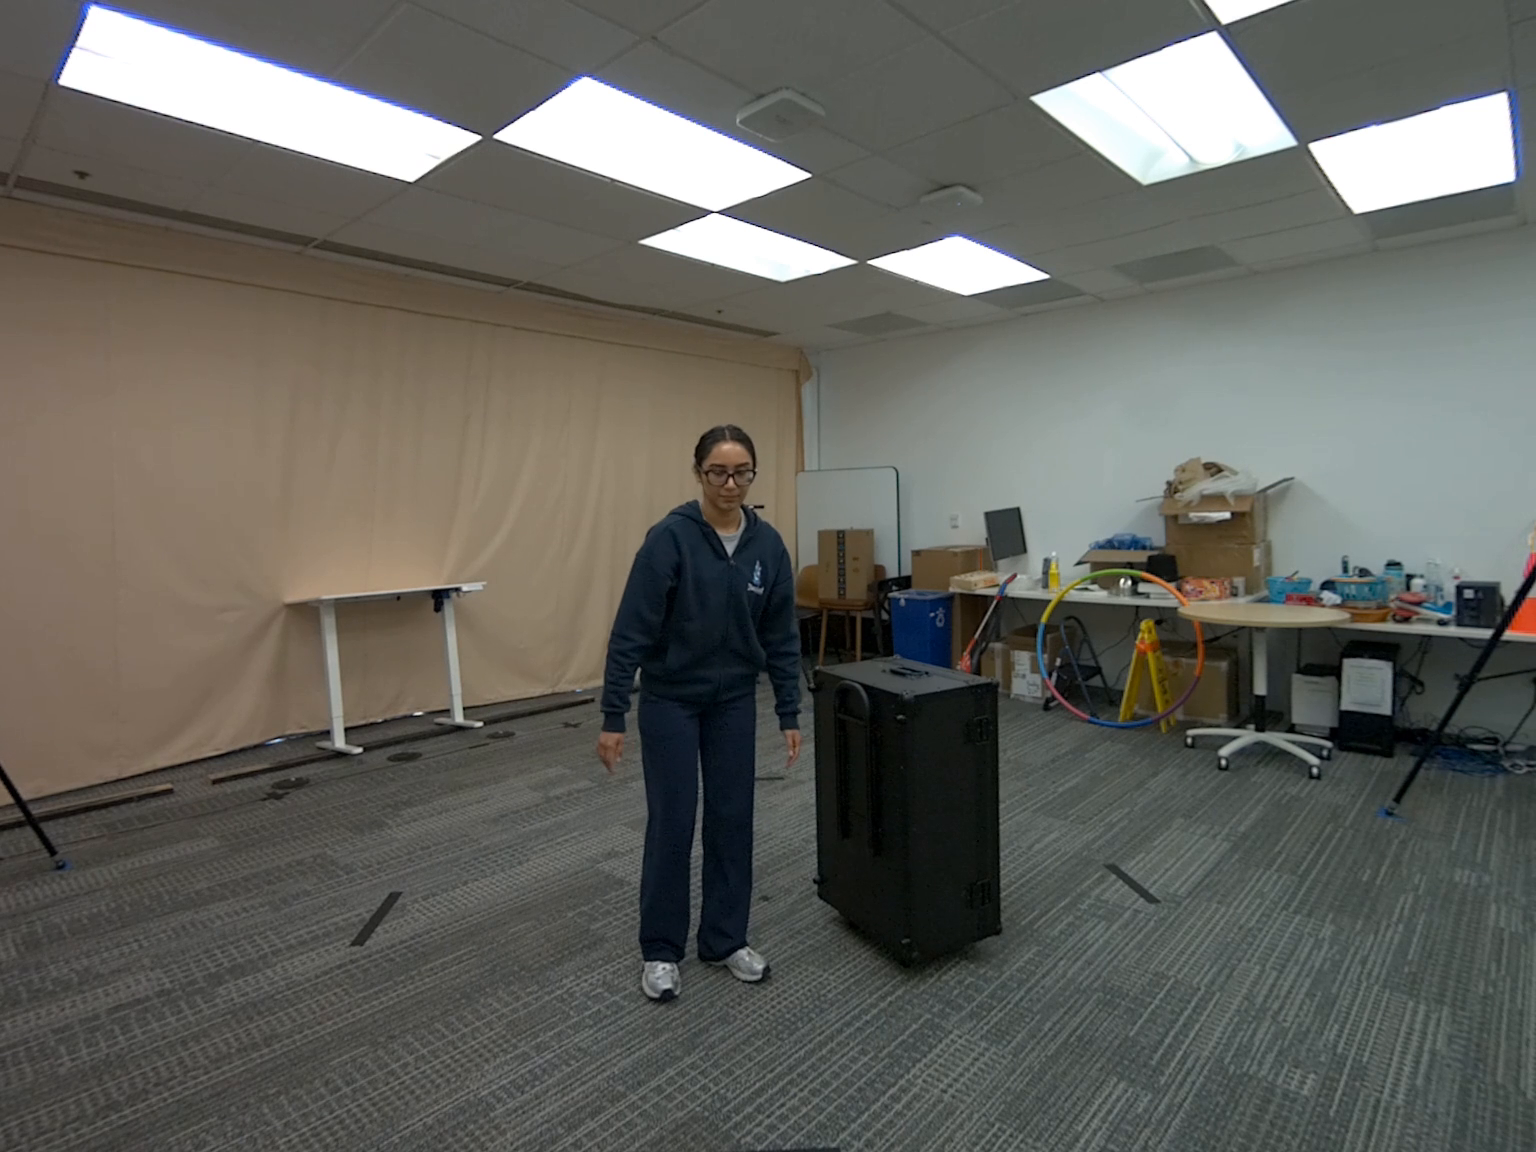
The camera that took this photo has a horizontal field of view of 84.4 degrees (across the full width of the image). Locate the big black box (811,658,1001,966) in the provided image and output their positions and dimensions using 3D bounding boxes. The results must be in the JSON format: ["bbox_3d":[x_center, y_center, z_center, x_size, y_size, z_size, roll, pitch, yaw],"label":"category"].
[{"bbox_3d":[0.432,0.736,2.673,0.386,0.859,0.536,-5,5,-28],"label":"big black box"}]
